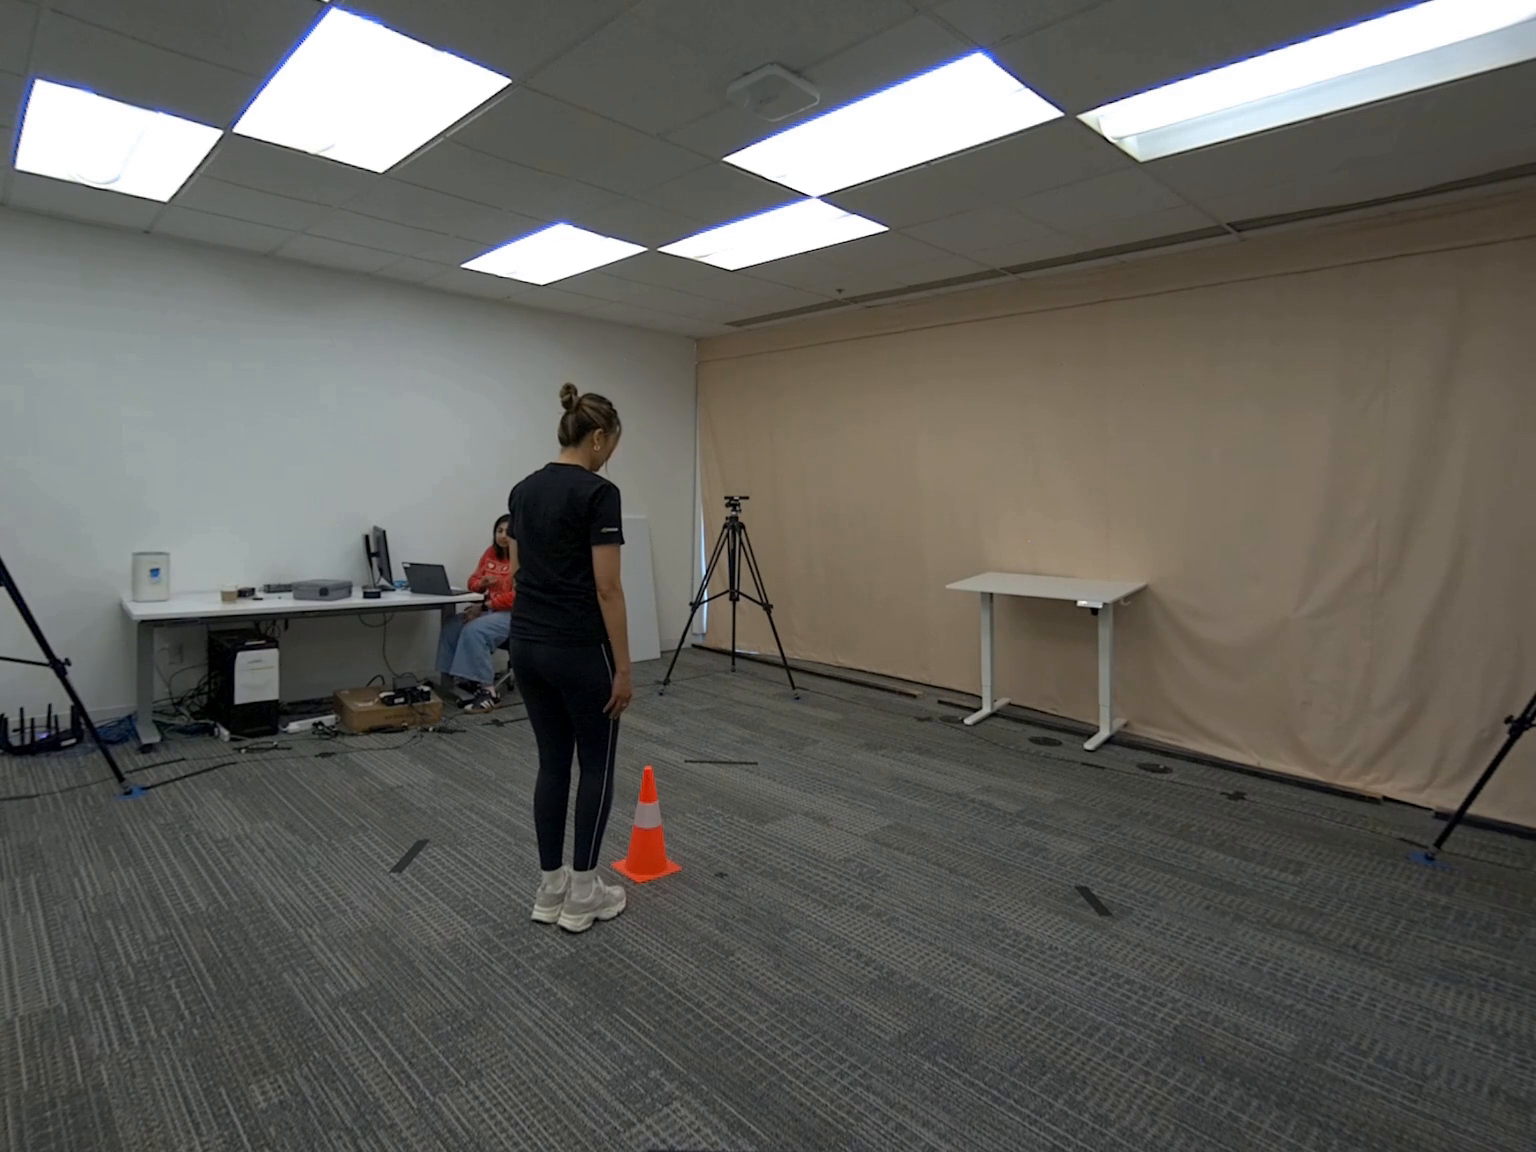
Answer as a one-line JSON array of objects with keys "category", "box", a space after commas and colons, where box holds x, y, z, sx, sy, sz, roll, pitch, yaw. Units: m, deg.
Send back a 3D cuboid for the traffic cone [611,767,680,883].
[{"category": "traffic cone", "box": [-0.463, 0.911, 3.152, 0.210, 0.383, 0.198, 4, 4, 43]}]
